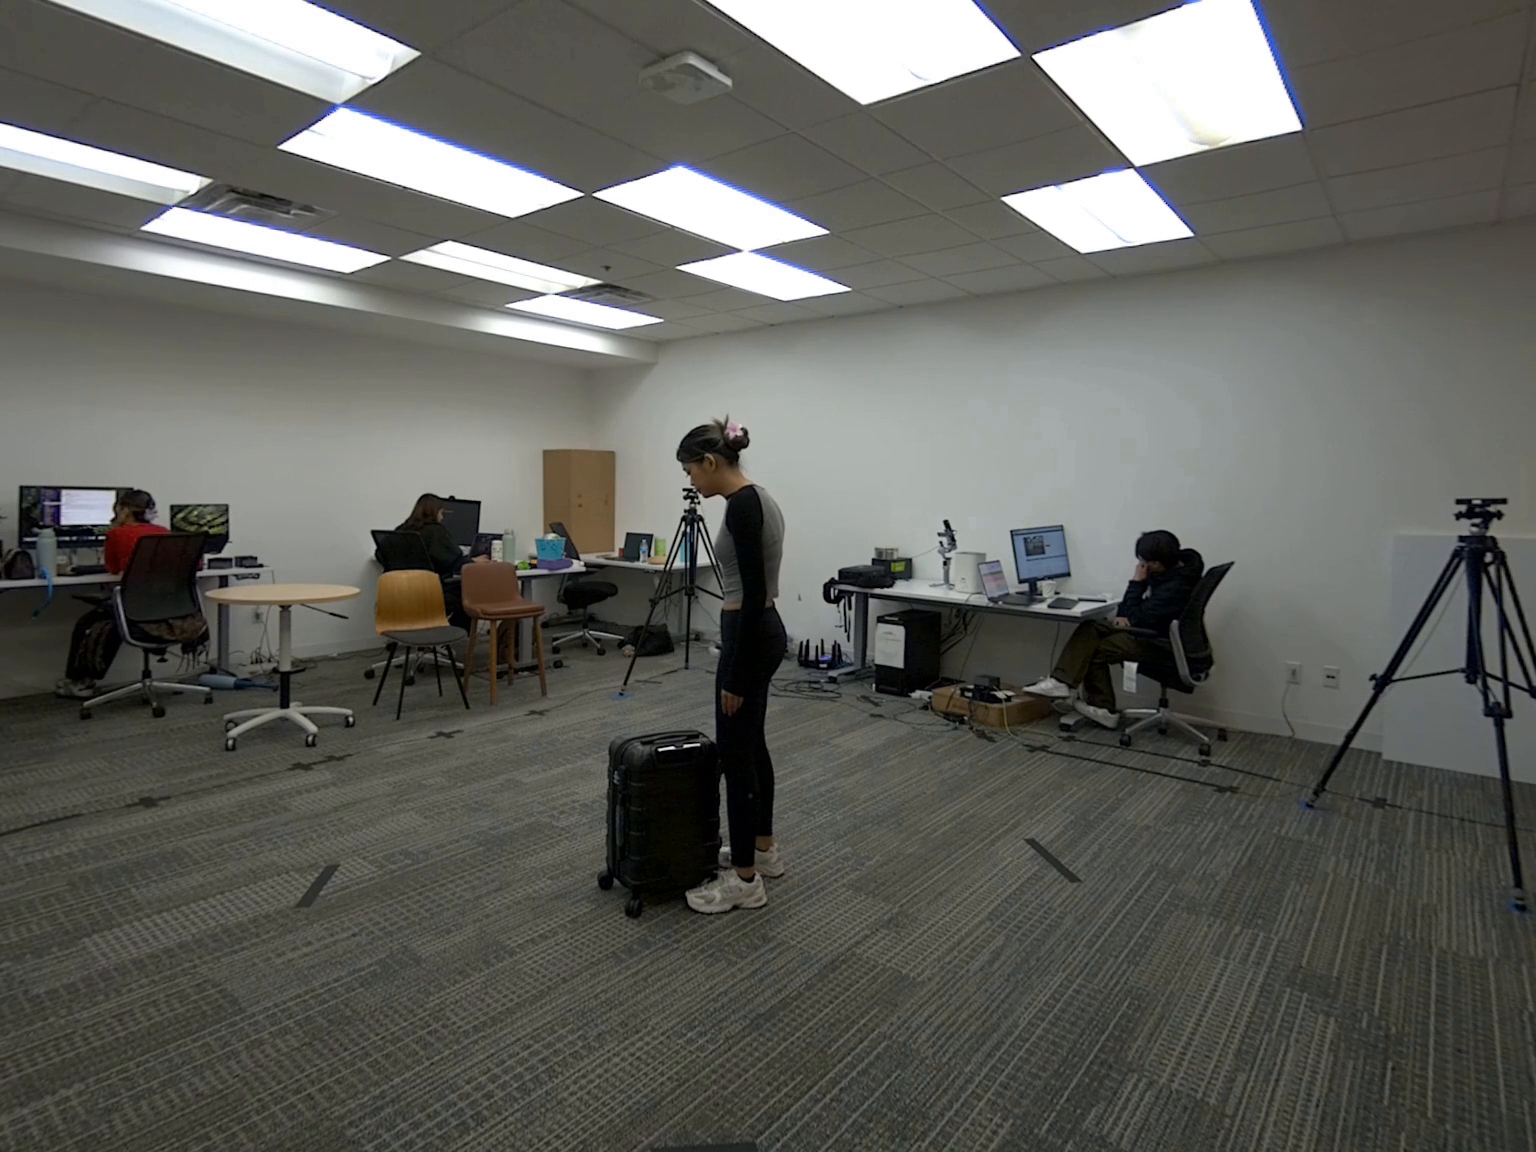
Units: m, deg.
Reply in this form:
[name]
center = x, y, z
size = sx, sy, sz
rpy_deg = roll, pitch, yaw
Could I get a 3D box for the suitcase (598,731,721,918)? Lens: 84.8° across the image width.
[suitcase]
center = -0.378, 0.807, 2.930
size = 0.365, 0.548, 0.256
rpy_deg = -1, 3, -30
